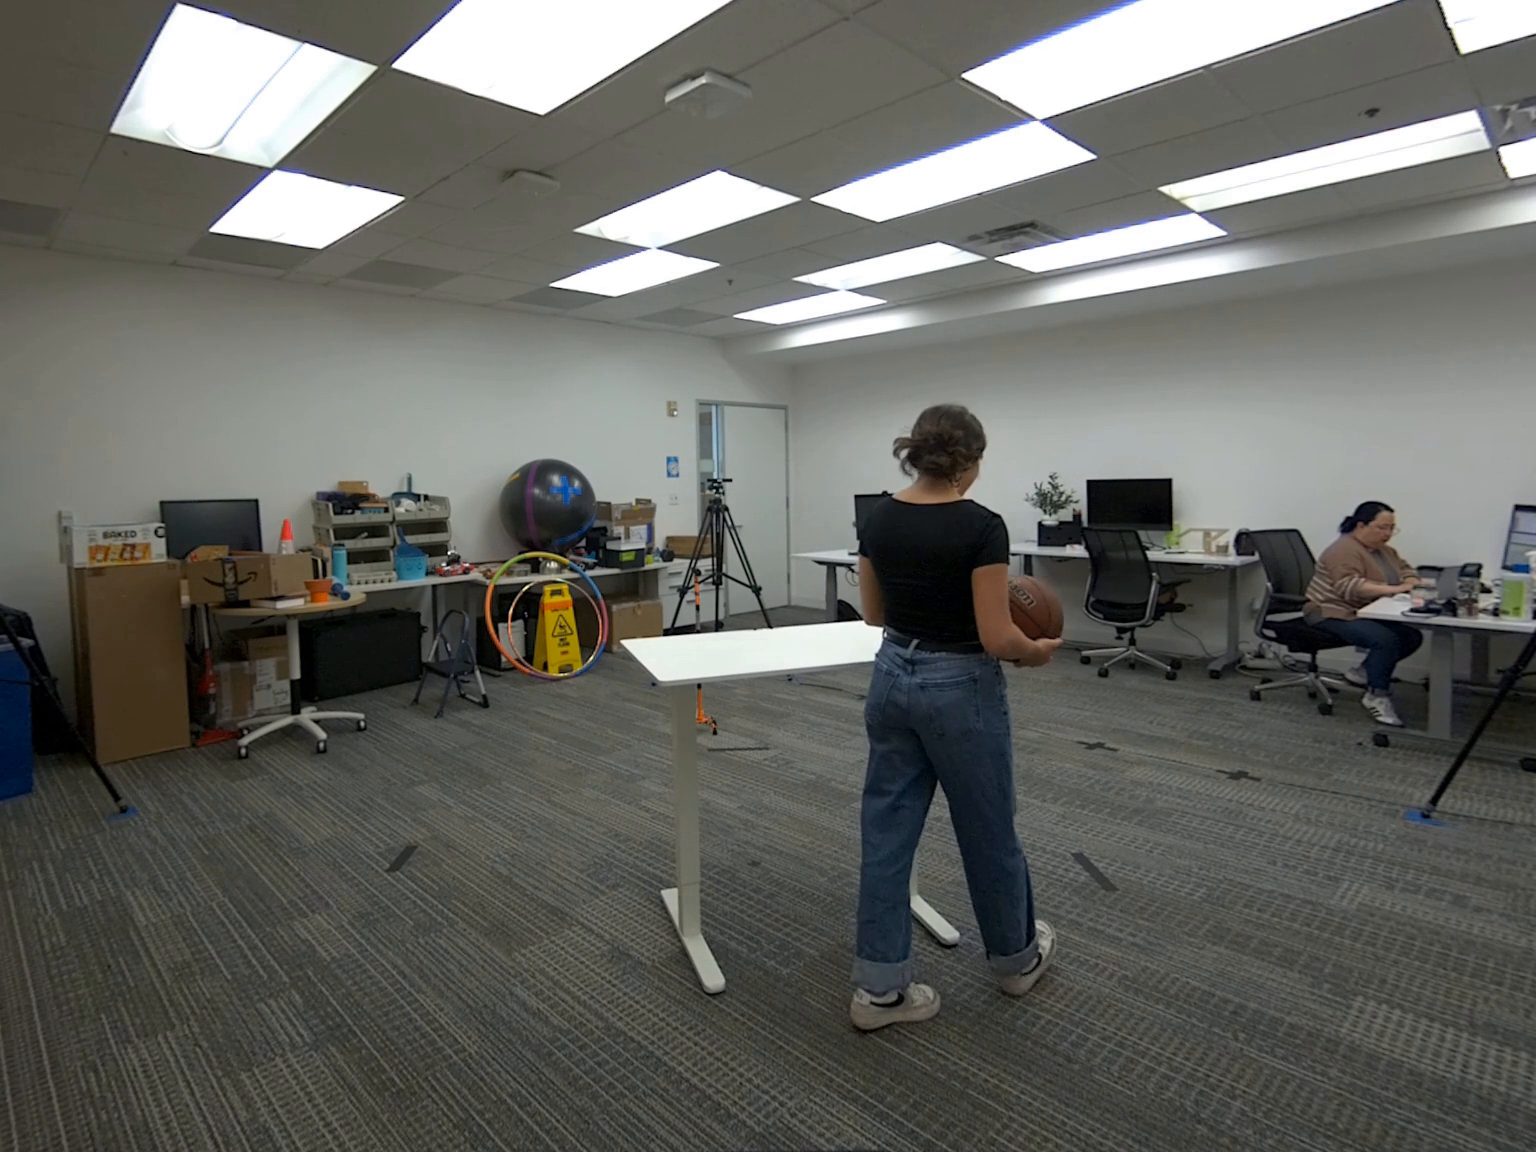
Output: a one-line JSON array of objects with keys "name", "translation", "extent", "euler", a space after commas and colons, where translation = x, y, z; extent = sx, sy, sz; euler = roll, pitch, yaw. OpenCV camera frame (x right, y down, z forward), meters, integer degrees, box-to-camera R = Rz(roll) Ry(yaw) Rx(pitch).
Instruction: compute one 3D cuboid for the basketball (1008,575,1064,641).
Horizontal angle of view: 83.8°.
[{"name": "basketball", "translation": [0.683, 0.113, 2.303], "extent": [0.236, 0.235, 0.237], "euler": [-1, 5, -2]}]
